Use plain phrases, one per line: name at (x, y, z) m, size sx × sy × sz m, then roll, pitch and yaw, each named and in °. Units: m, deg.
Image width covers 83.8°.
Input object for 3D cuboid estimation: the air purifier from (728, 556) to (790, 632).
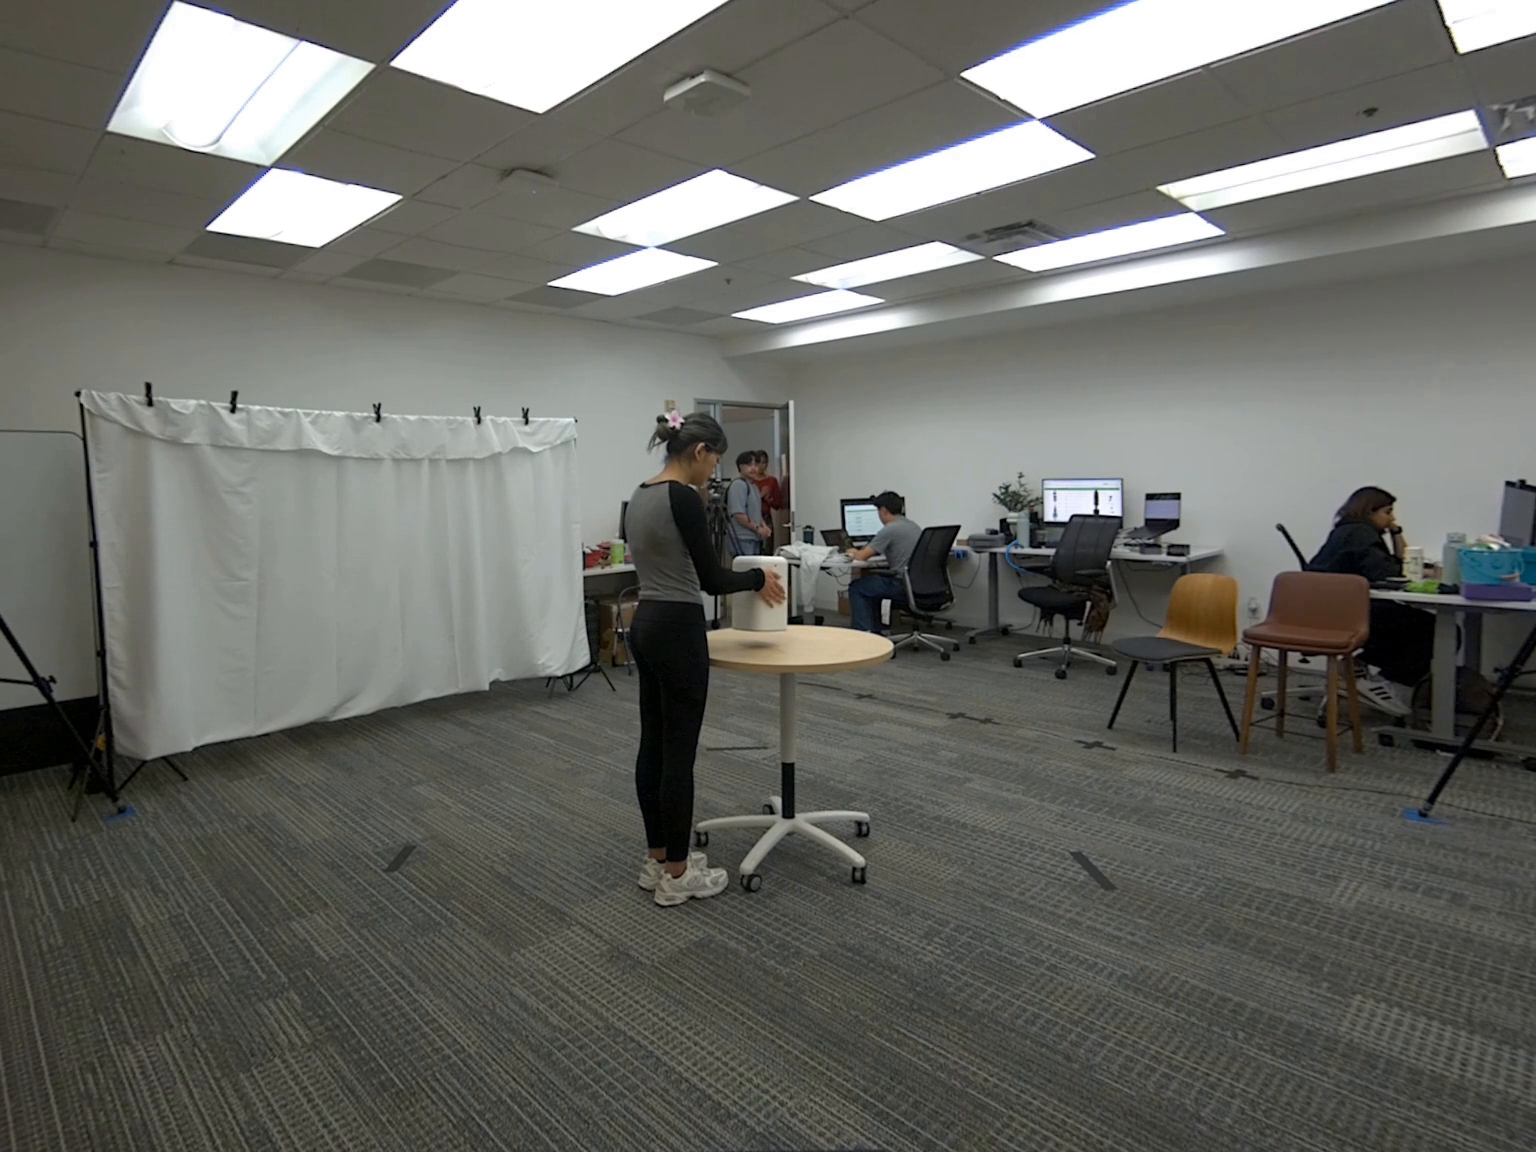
air purifier at (-0.029, 0.061, 3.086) m, size 0.176 × 0.266 × 0.166 m, roll -2°, pitch -3°, yaw 43°
